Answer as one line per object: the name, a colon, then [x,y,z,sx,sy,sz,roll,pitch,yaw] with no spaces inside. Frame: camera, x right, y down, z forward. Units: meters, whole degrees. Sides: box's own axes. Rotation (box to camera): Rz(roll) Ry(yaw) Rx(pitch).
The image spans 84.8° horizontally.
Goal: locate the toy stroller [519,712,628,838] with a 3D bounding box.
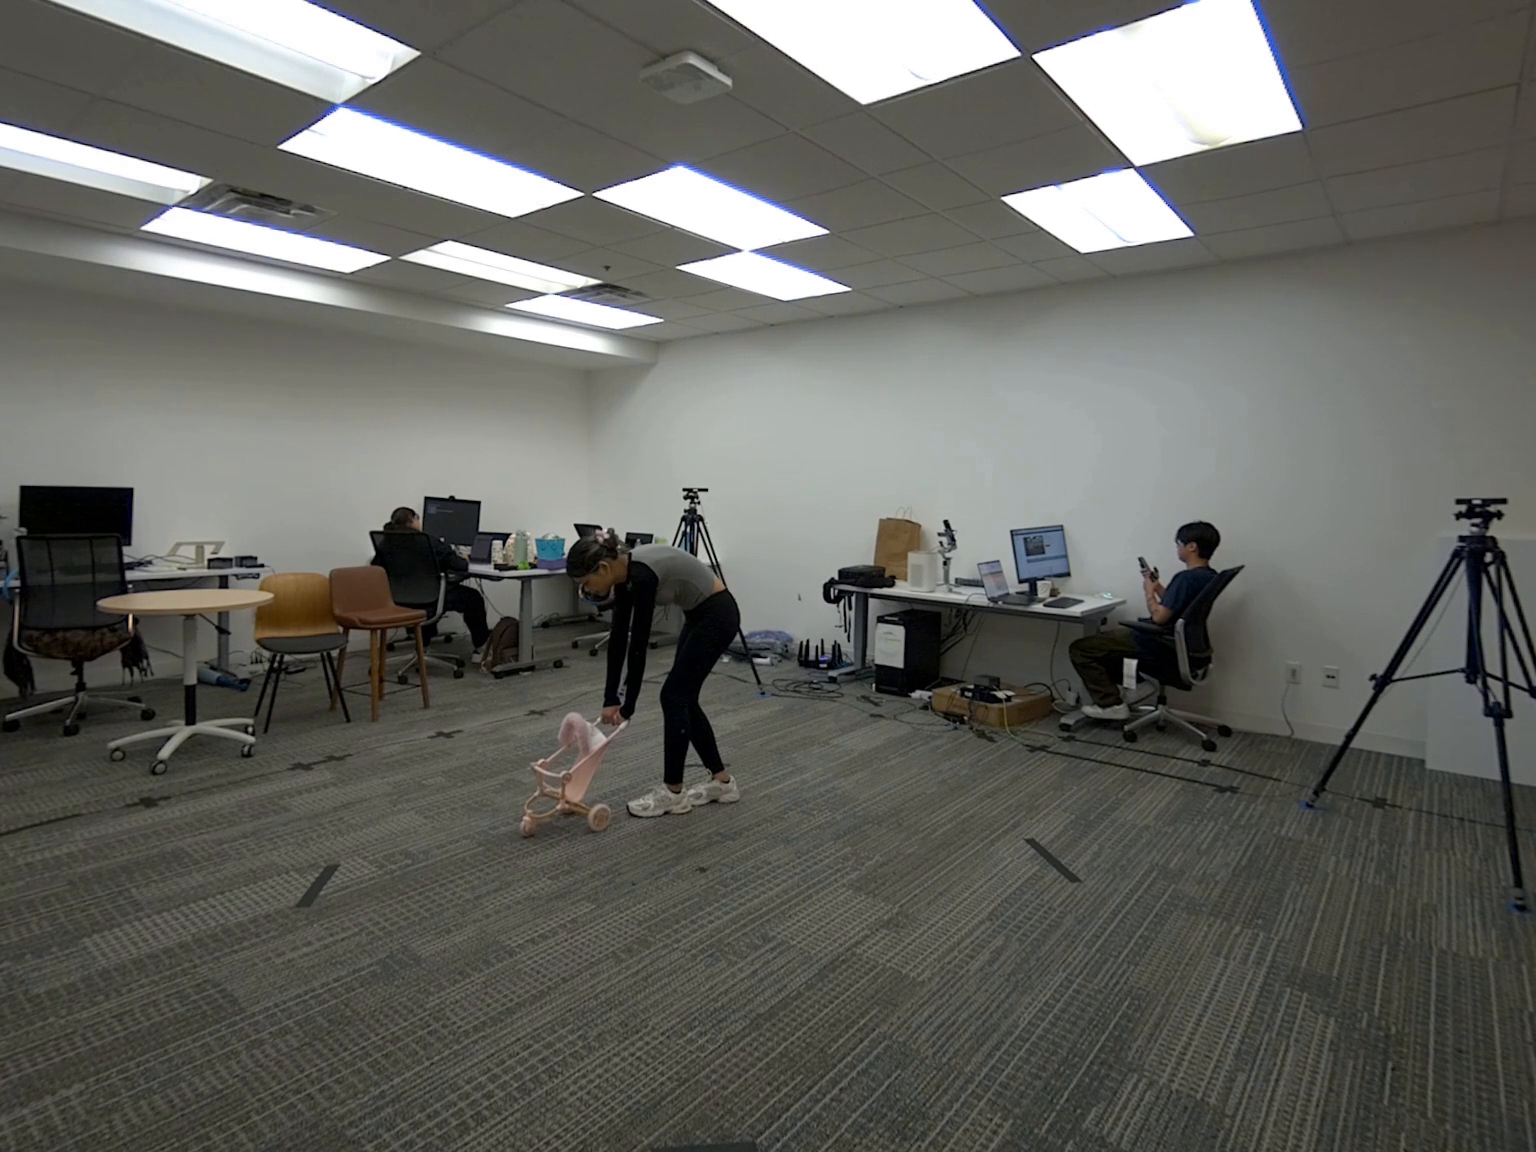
toy stroller: [-0.821,0.798,3.490,0.329,0.538,0.290,18,-9,-36]
